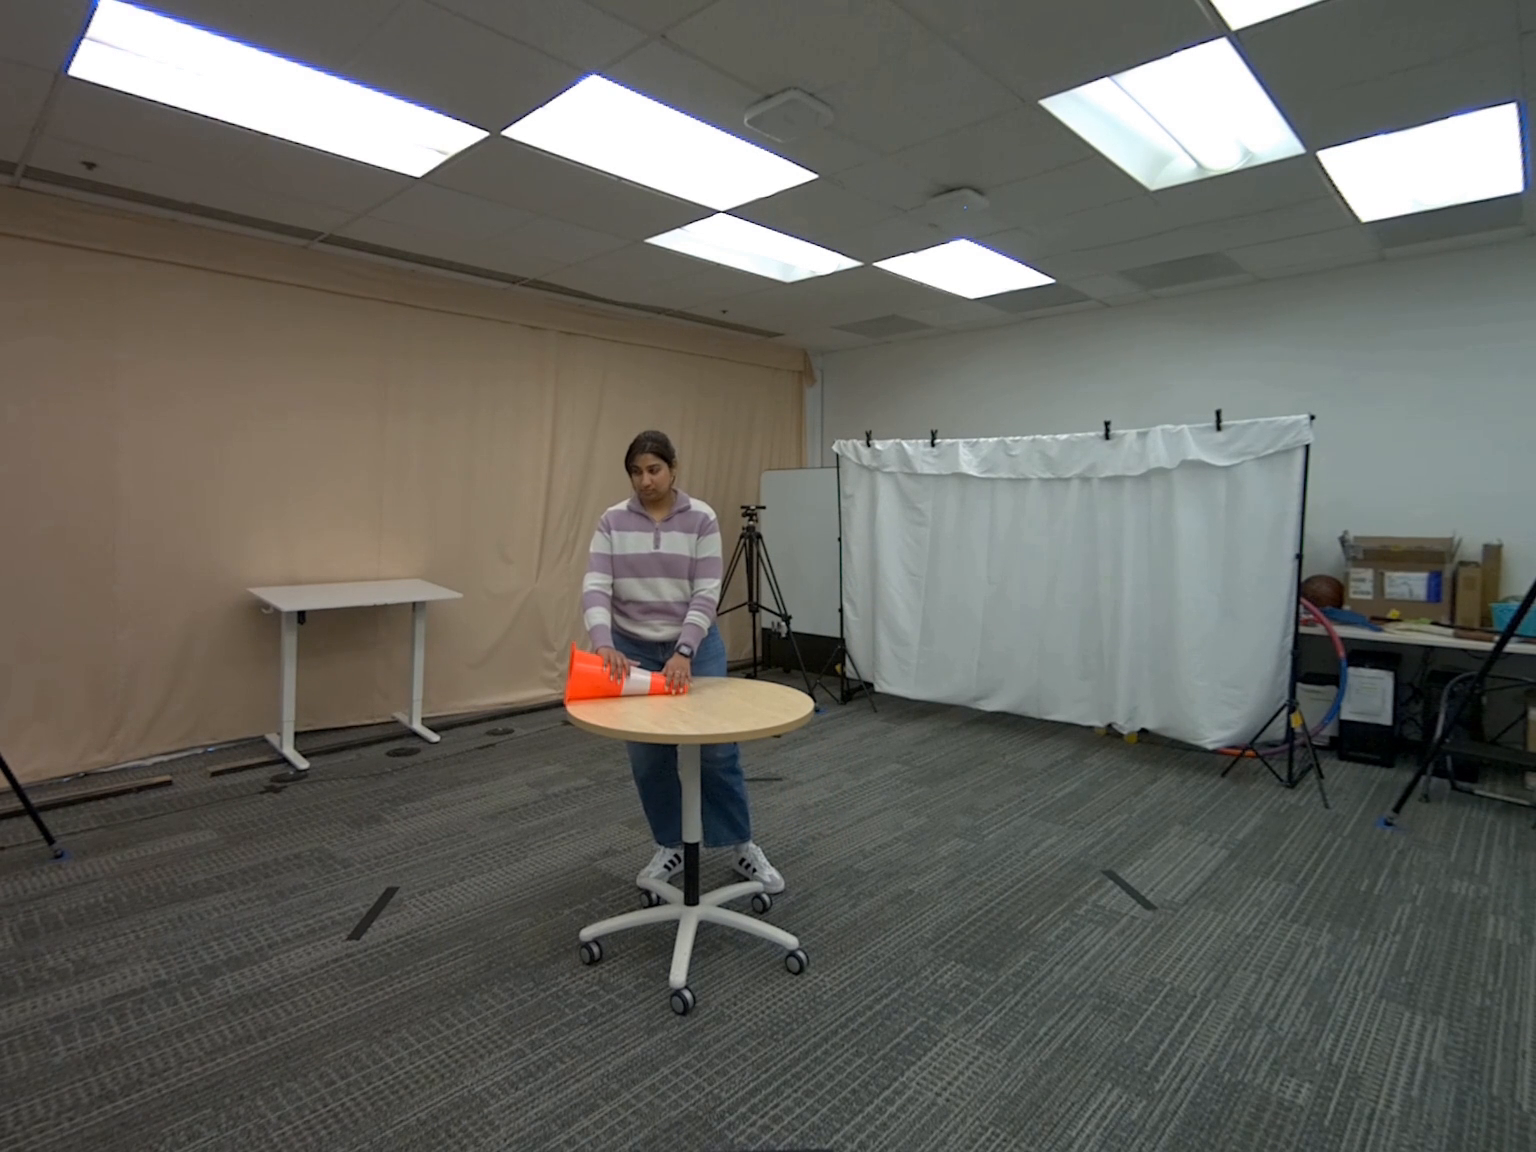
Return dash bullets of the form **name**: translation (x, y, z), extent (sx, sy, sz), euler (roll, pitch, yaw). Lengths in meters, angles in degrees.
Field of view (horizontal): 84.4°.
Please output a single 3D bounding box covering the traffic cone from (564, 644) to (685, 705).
- **traffic cone**: translation (-0.446, 0.337, 2.707), extent (0.379, 0.205, 0.206), euler (9, -2, -11)
